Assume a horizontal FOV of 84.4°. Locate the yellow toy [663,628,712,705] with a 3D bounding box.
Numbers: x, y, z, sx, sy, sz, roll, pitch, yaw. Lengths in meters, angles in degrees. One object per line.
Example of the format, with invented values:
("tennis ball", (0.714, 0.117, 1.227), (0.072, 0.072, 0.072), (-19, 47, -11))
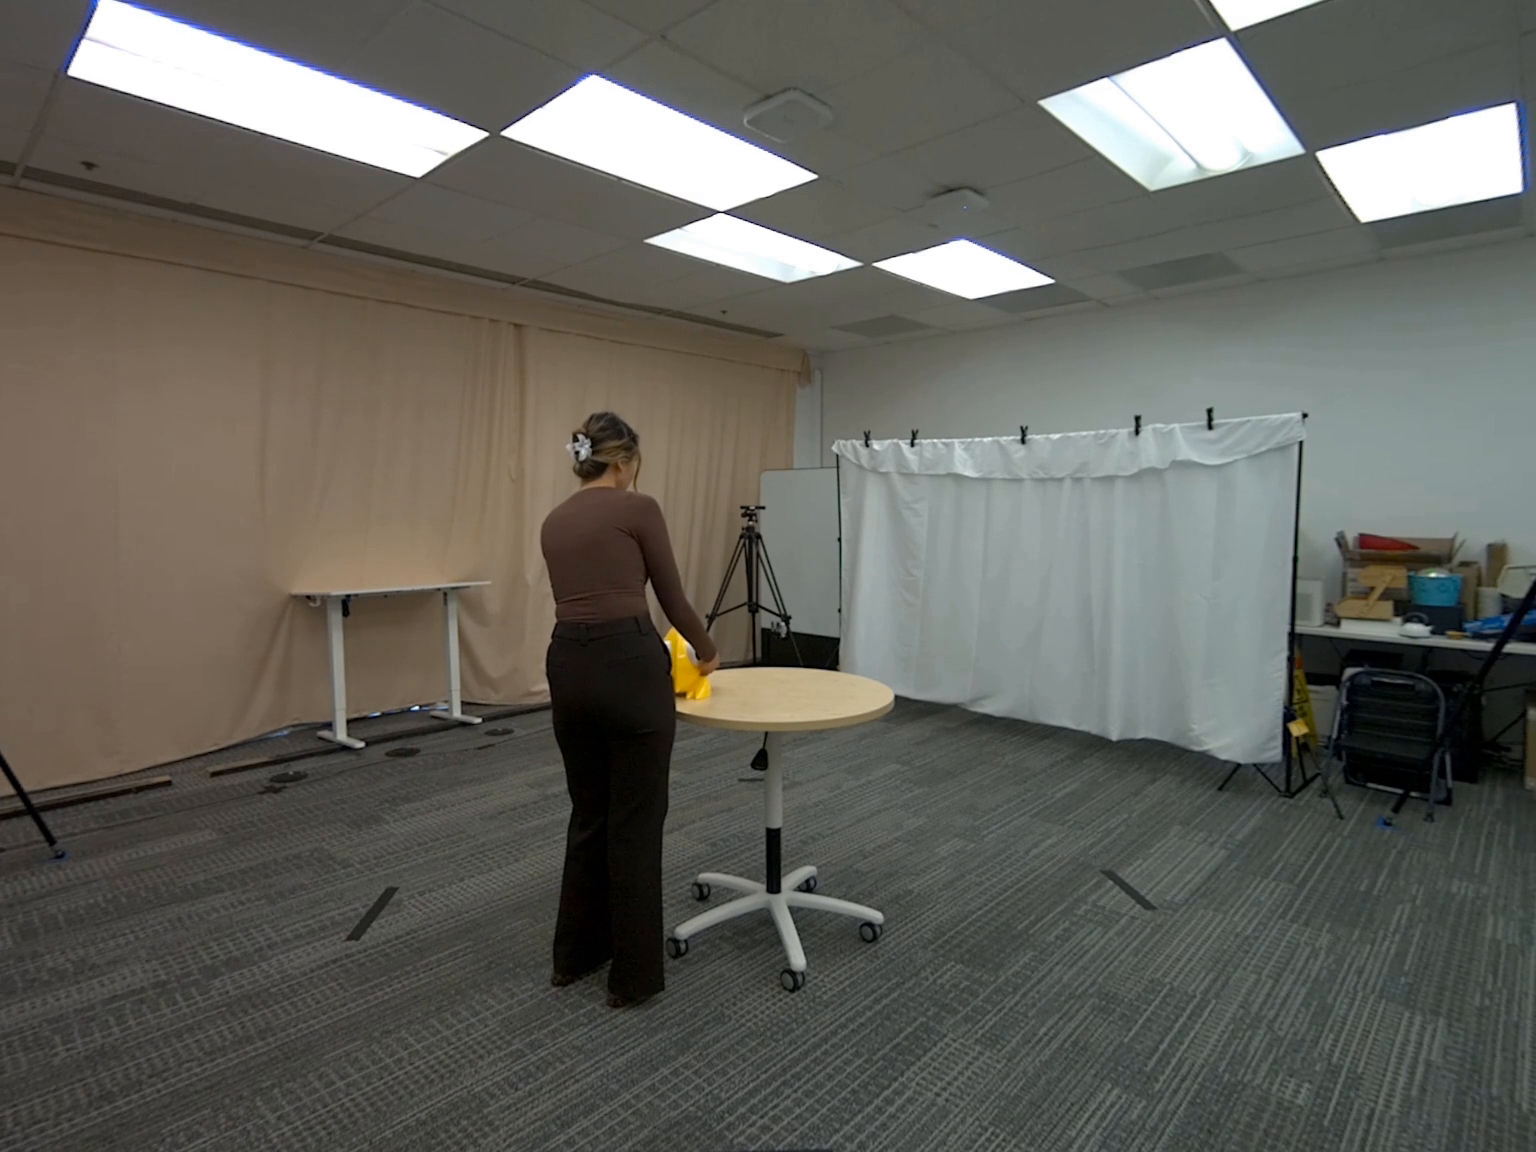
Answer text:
("yellow toy", (-0.282, 0.260, 2.681), (0.205, 0.230, 0.193), (0, 3, 2))
